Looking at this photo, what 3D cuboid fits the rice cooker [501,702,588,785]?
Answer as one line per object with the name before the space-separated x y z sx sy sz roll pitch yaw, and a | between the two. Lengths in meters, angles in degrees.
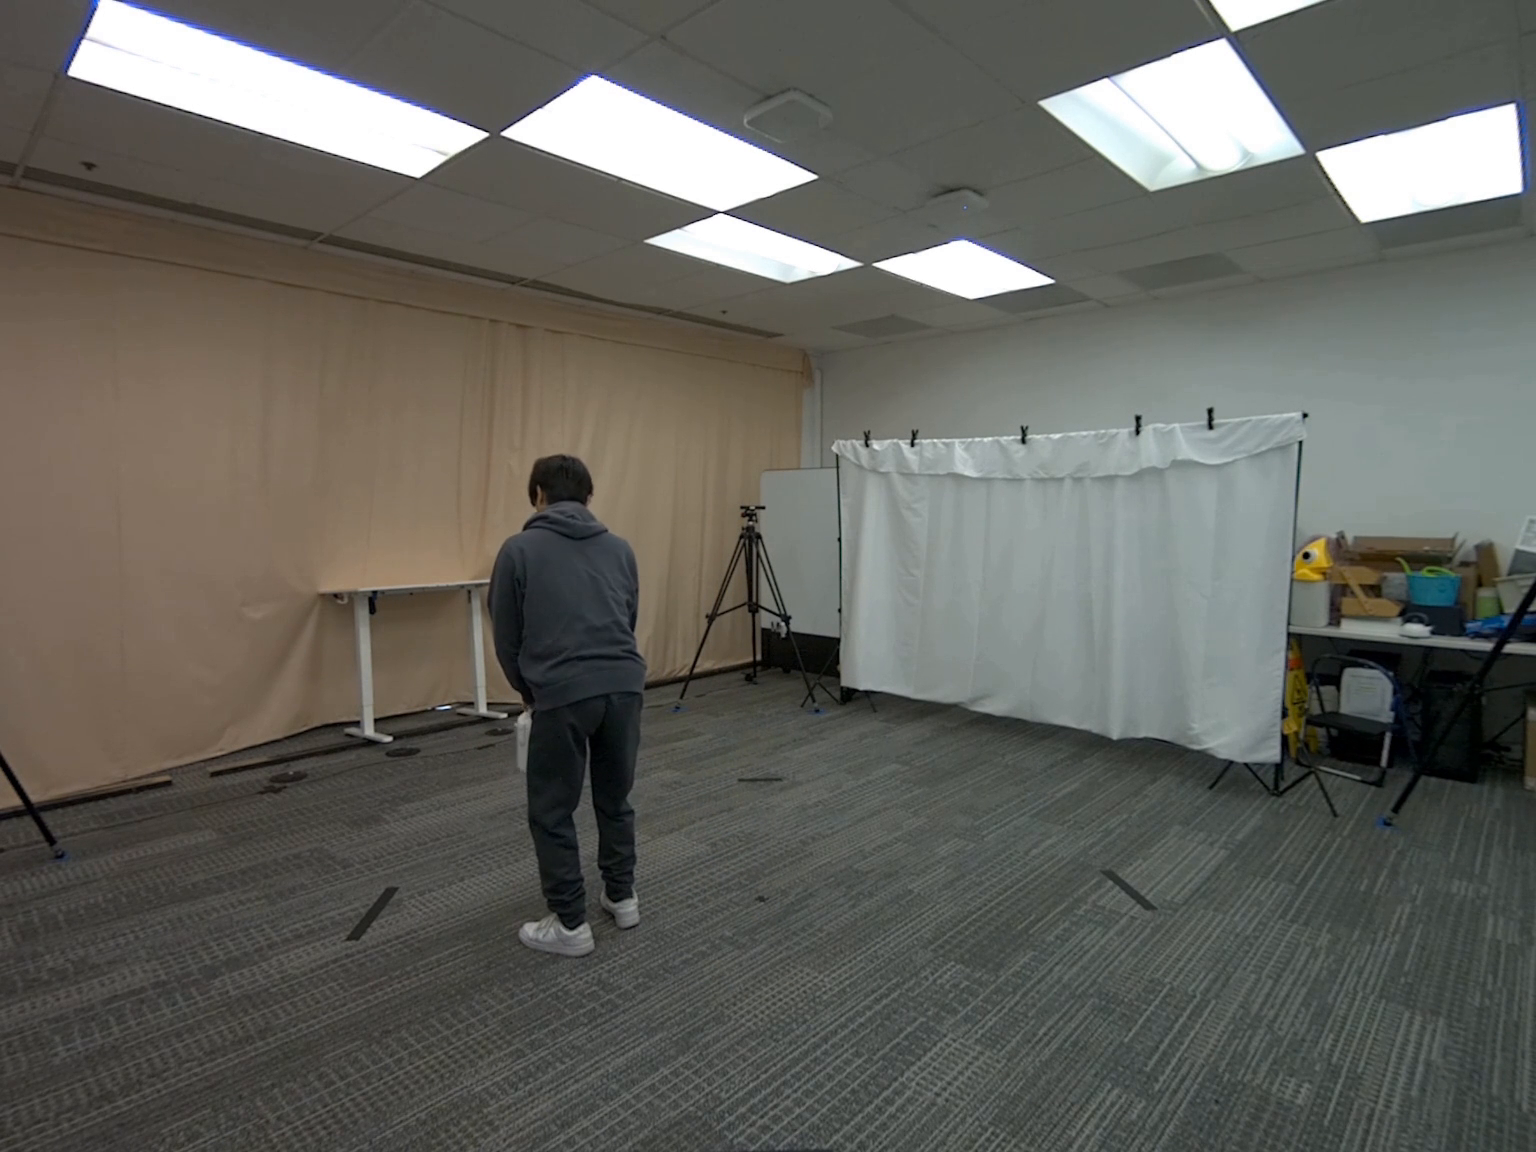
rice cooker | -0.762 0.562 2.905 0.214 0.232 0.224 -1 3 -42
